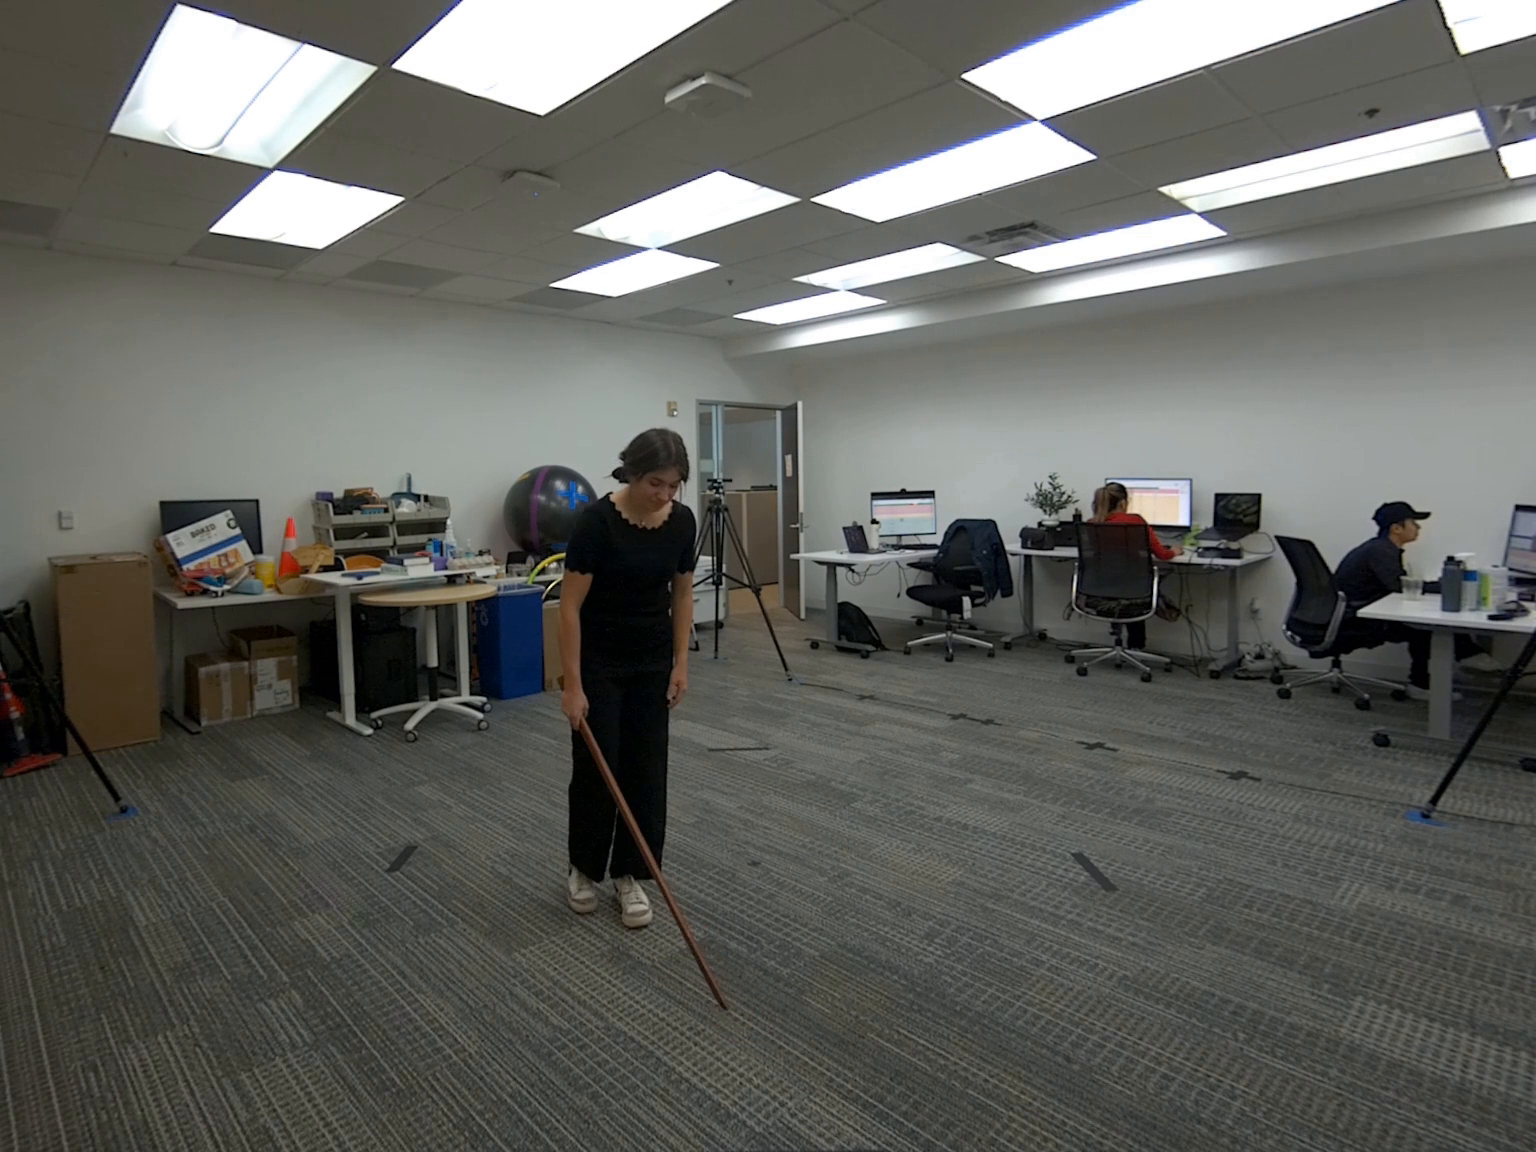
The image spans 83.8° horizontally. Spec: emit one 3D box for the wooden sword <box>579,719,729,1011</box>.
[{"bbox_3d":[-0.363,0.729,2.411,0.051,1.059,0.023,-27,-30,-19],"label":"wooden sword"}]
